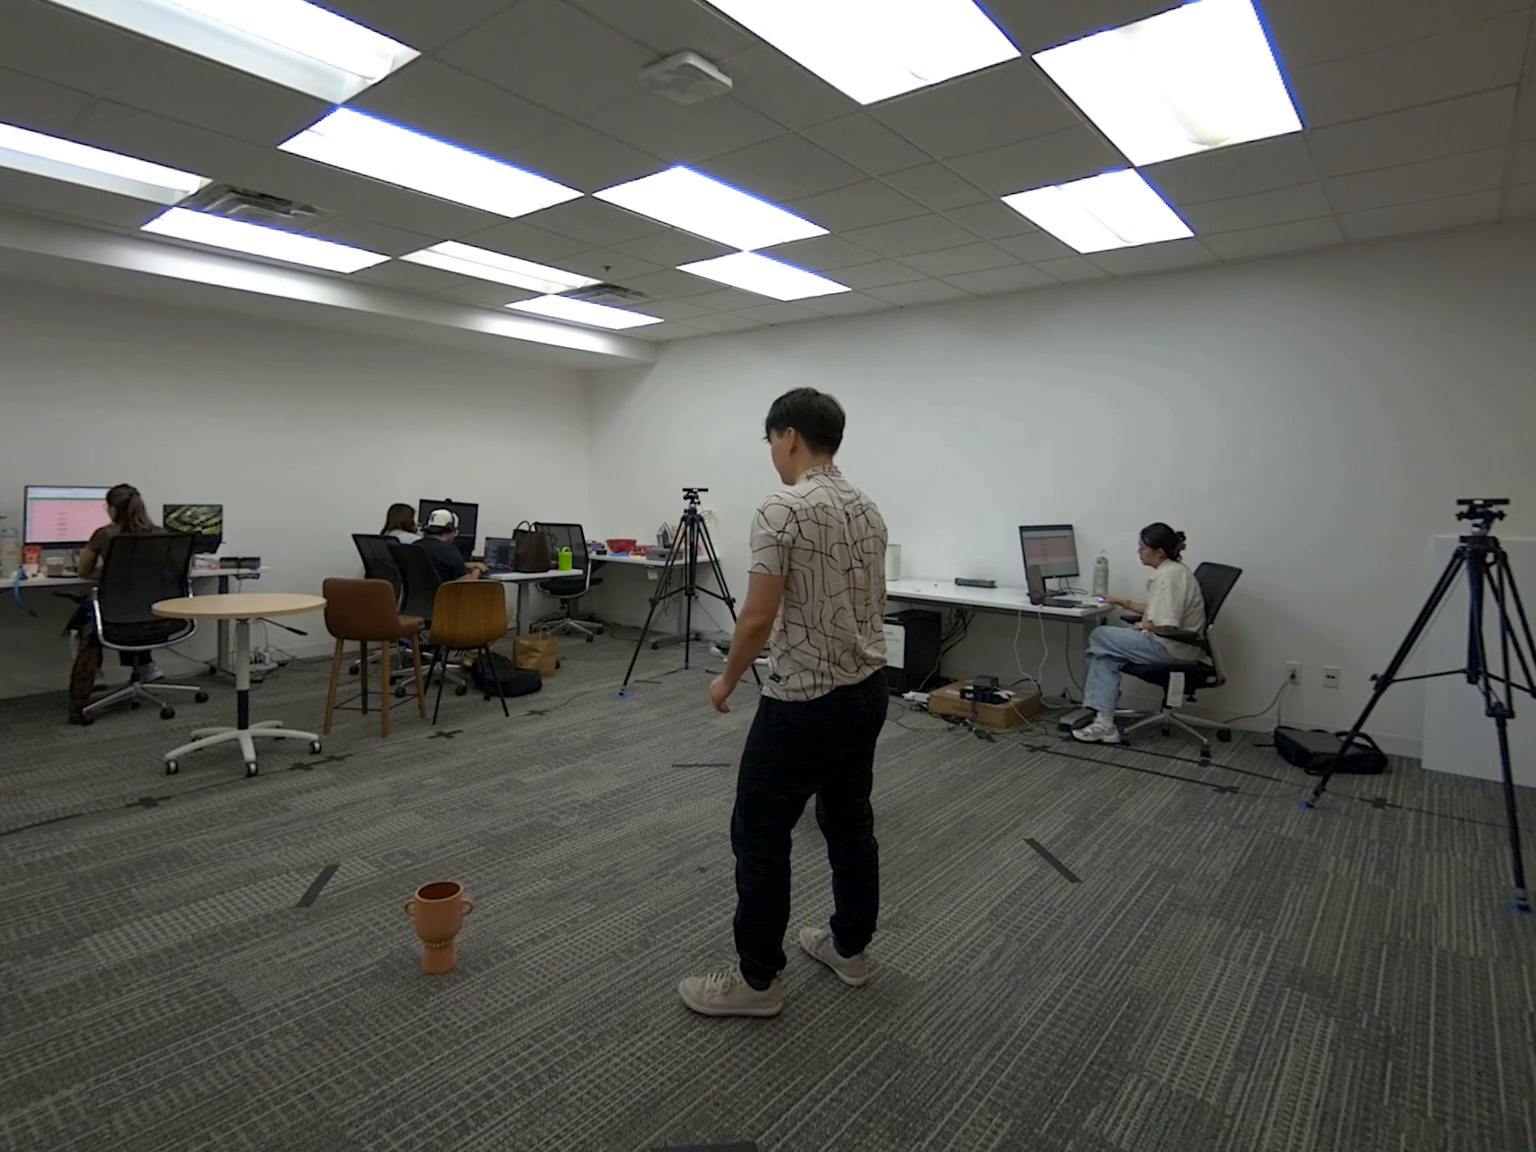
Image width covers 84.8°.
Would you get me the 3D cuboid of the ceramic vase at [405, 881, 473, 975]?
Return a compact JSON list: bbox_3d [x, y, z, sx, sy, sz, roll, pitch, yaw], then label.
[{"bbox_3d":[-0.959,1.012,2.454,0.164,0.219,0.131,2,4,35],"label":"ceramic vase"}]
